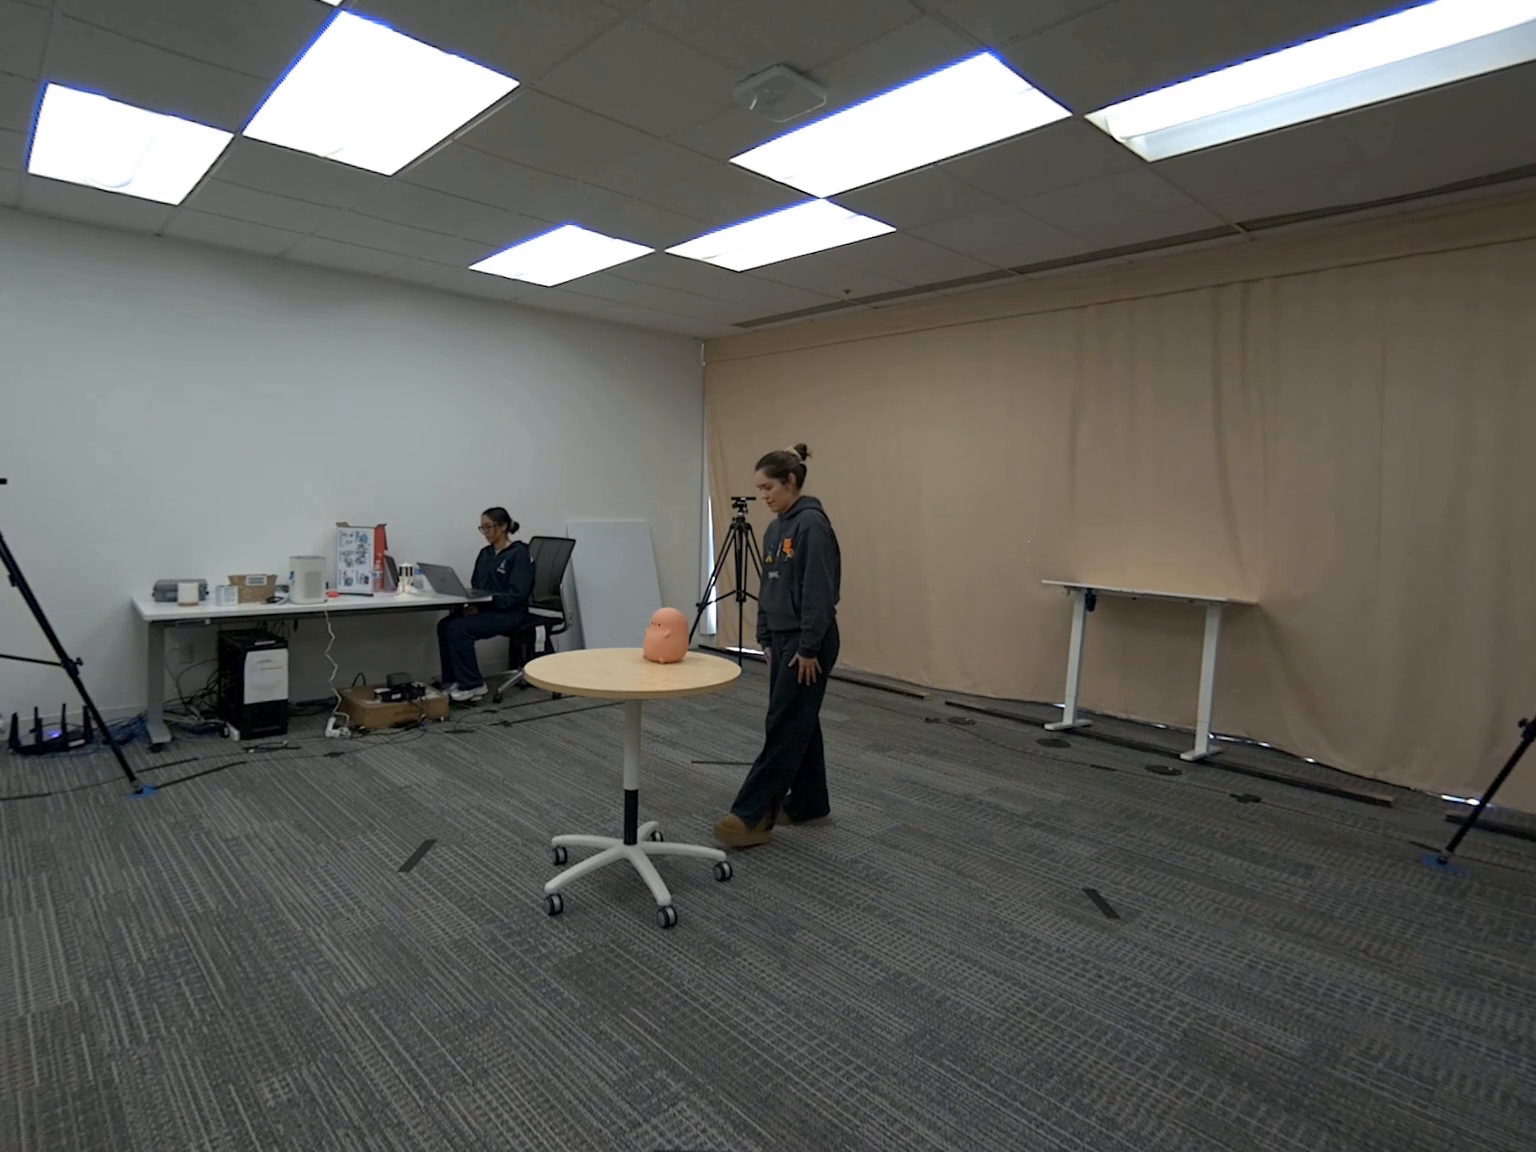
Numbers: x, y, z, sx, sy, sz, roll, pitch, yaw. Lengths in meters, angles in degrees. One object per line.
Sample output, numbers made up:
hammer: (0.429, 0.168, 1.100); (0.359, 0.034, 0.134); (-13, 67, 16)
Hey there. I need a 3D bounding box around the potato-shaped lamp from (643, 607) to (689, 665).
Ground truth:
potato-shaped lamp: (-0.388, 0.218, 3.143); (0.169, 0.198, 0.167); (6, 3, 45)
